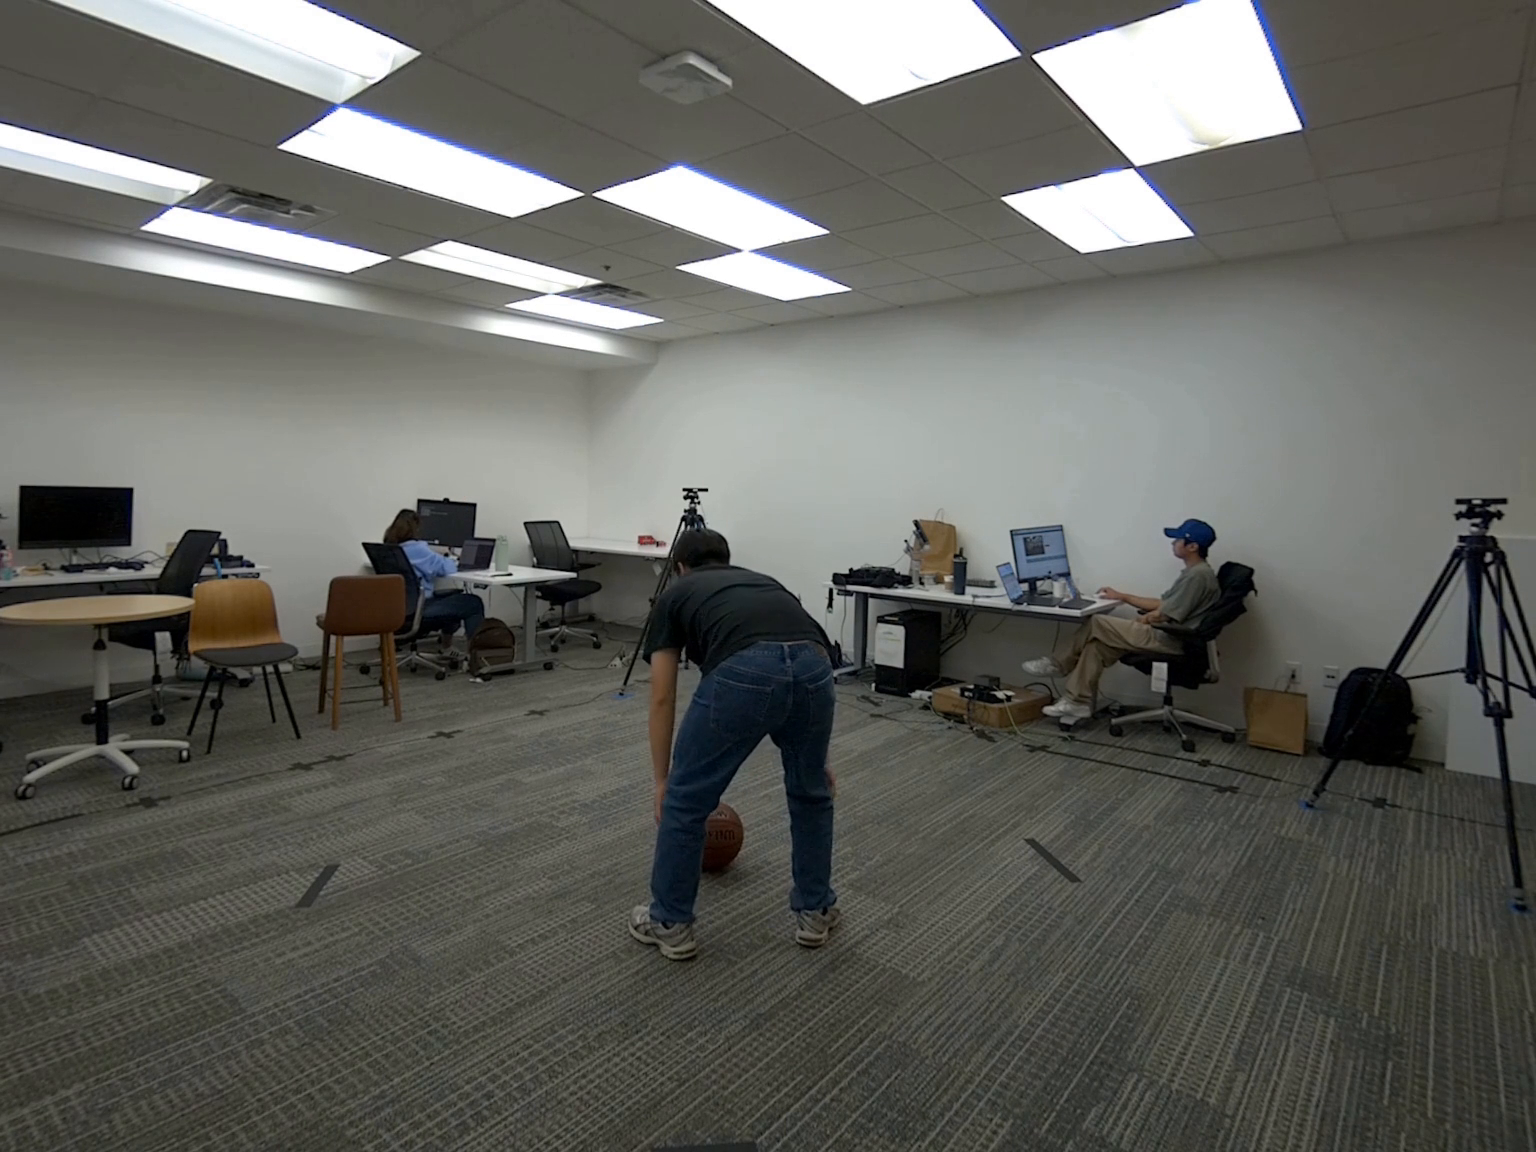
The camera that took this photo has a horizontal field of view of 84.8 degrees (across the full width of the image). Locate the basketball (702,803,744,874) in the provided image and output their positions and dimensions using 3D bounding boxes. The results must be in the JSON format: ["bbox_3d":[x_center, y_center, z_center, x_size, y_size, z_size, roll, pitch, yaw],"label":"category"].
[{"bbox_3d":[-0.217,0.943,3.127,0.236,0.235,0.237,1,4,-2],"label":"basketball"}]
